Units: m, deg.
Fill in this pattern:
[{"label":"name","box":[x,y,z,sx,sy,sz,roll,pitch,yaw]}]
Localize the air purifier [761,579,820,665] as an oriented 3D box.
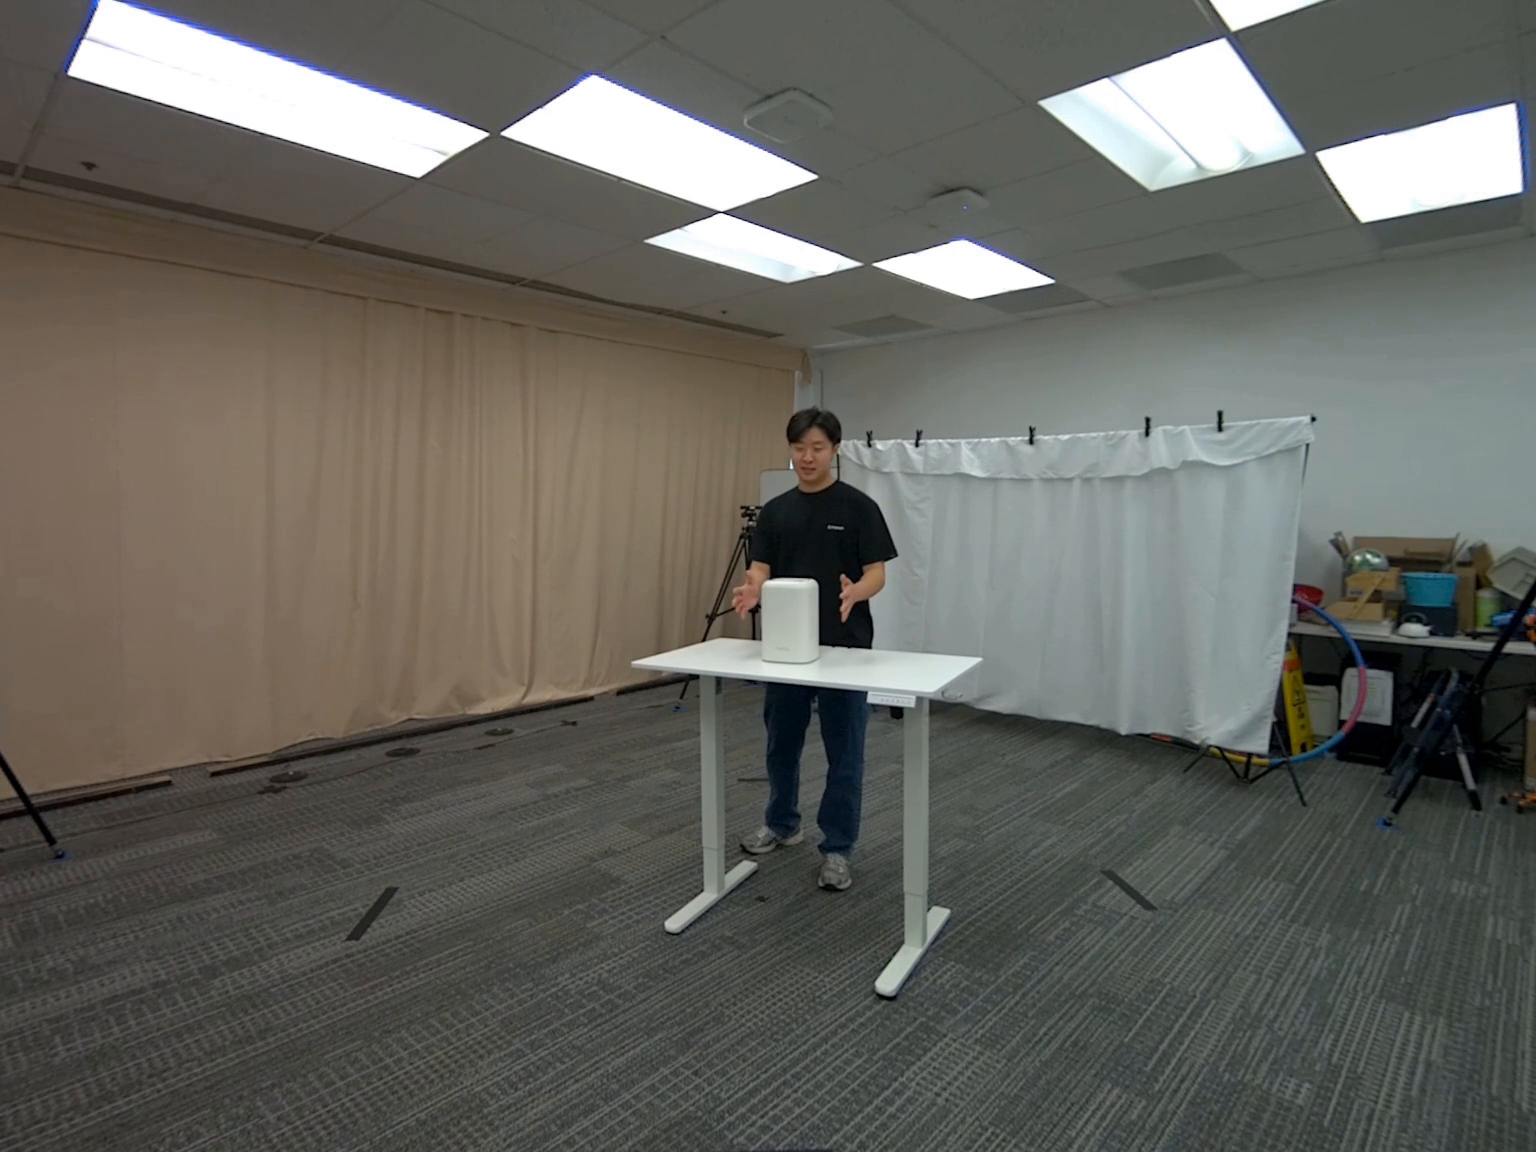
[{"label":"air purifier","box":[0.068,0.144,2.789,0.175,0.265,0.168,1,2,22]}]
